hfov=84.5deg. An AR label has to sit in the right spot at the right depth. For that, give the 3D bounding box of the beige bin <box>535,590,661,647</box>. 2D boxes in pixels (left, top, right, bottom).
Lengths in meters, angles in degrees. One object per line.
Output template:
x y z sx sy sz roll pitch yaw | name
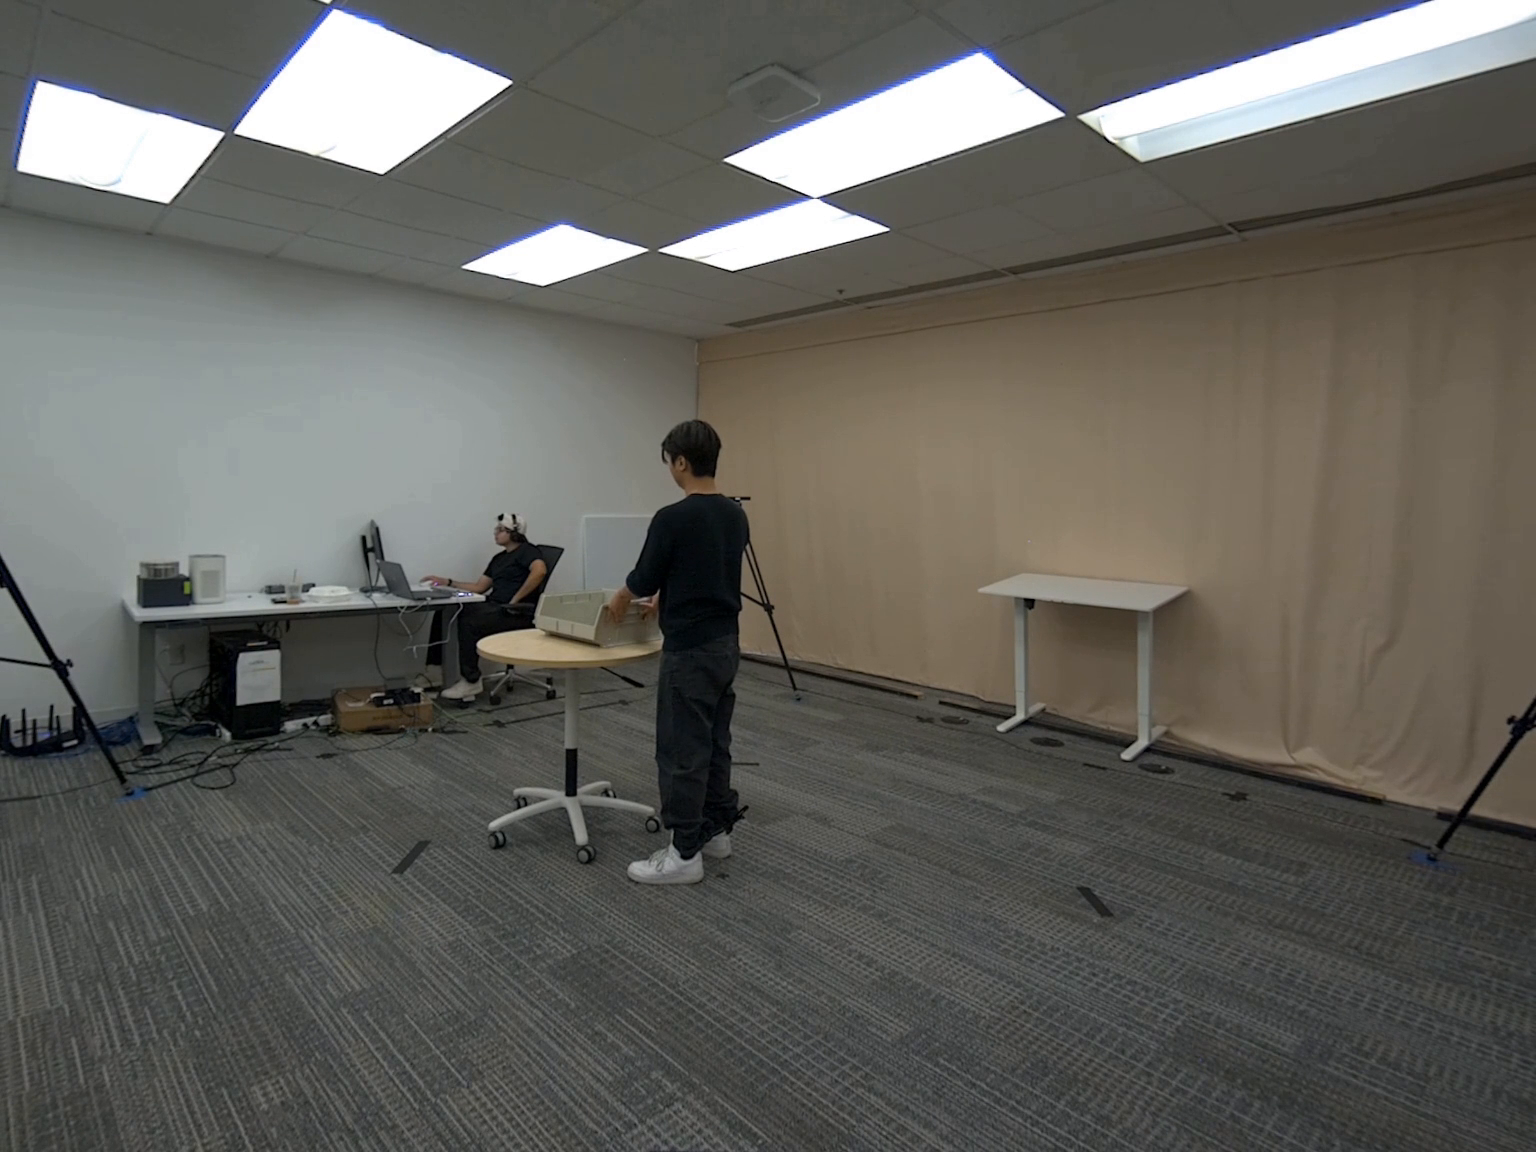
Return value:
-0.723 0.176 3.610 0.433 0.188 0.369 5 6 41 | beige bin
